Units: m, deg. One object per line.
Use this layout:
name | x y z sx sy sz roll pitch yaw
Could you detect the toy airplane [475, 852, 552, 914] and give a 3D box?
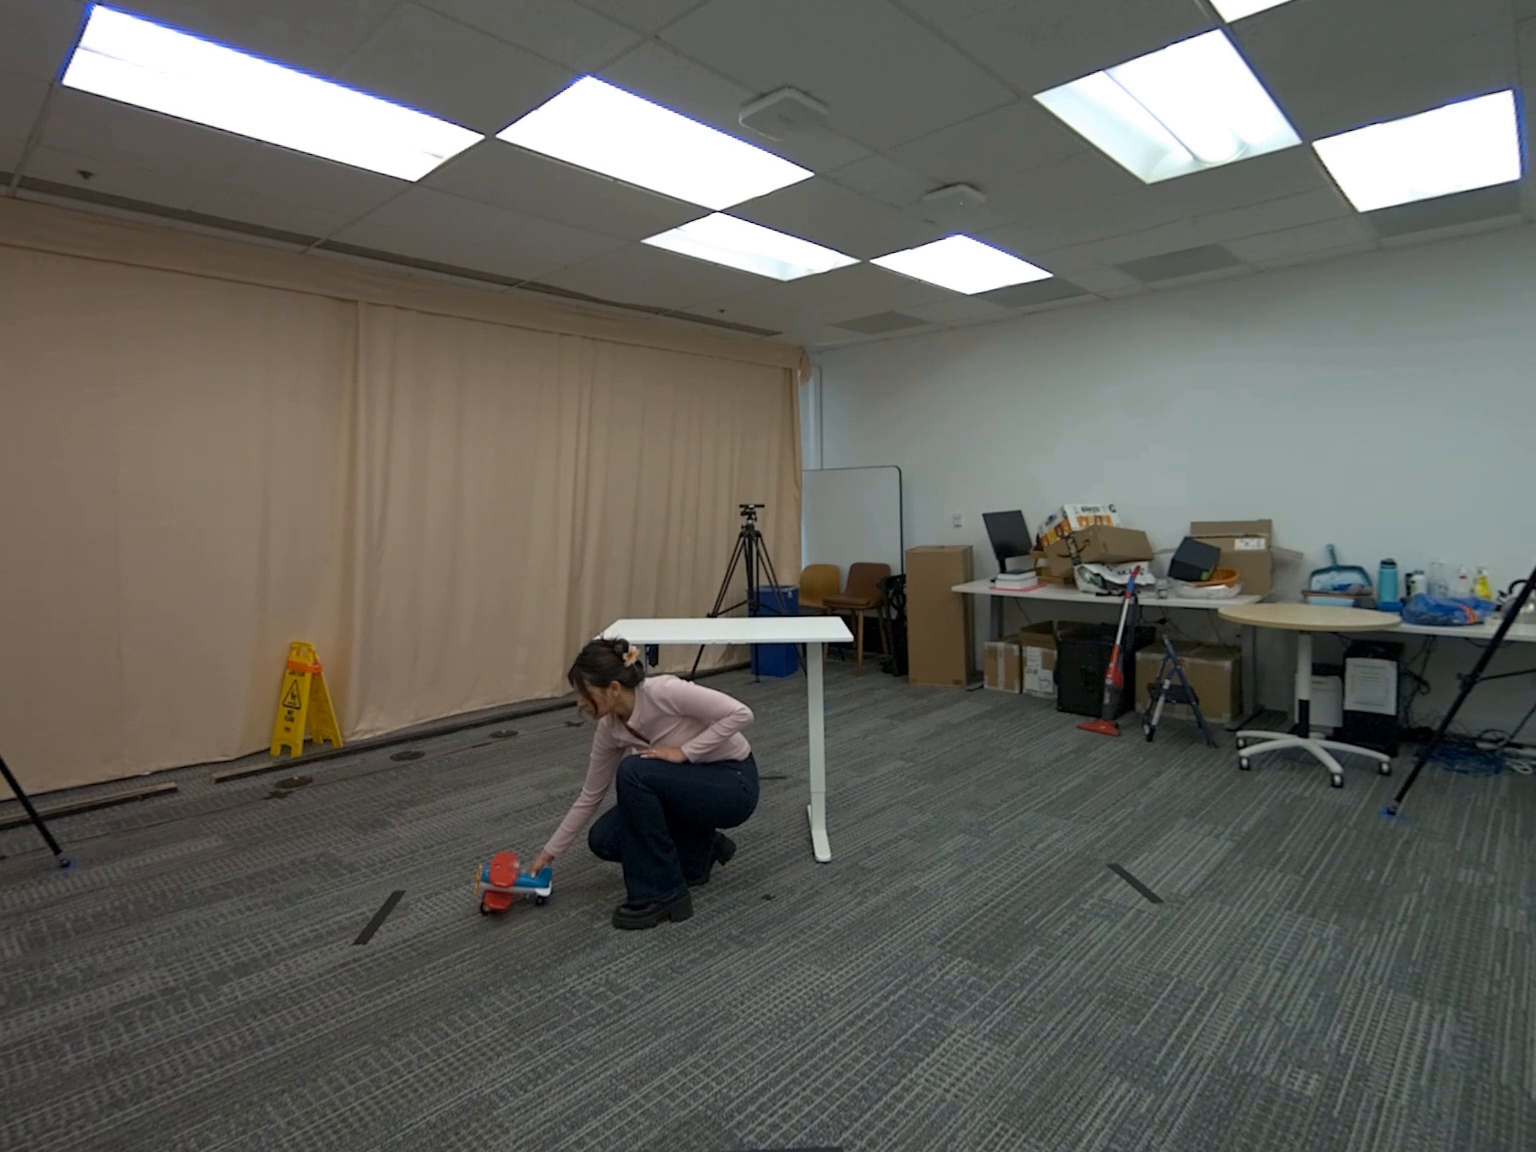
toy airplane | -0.899 1.089 2.976 0.252 0.156 0.259 -5 6 -36
